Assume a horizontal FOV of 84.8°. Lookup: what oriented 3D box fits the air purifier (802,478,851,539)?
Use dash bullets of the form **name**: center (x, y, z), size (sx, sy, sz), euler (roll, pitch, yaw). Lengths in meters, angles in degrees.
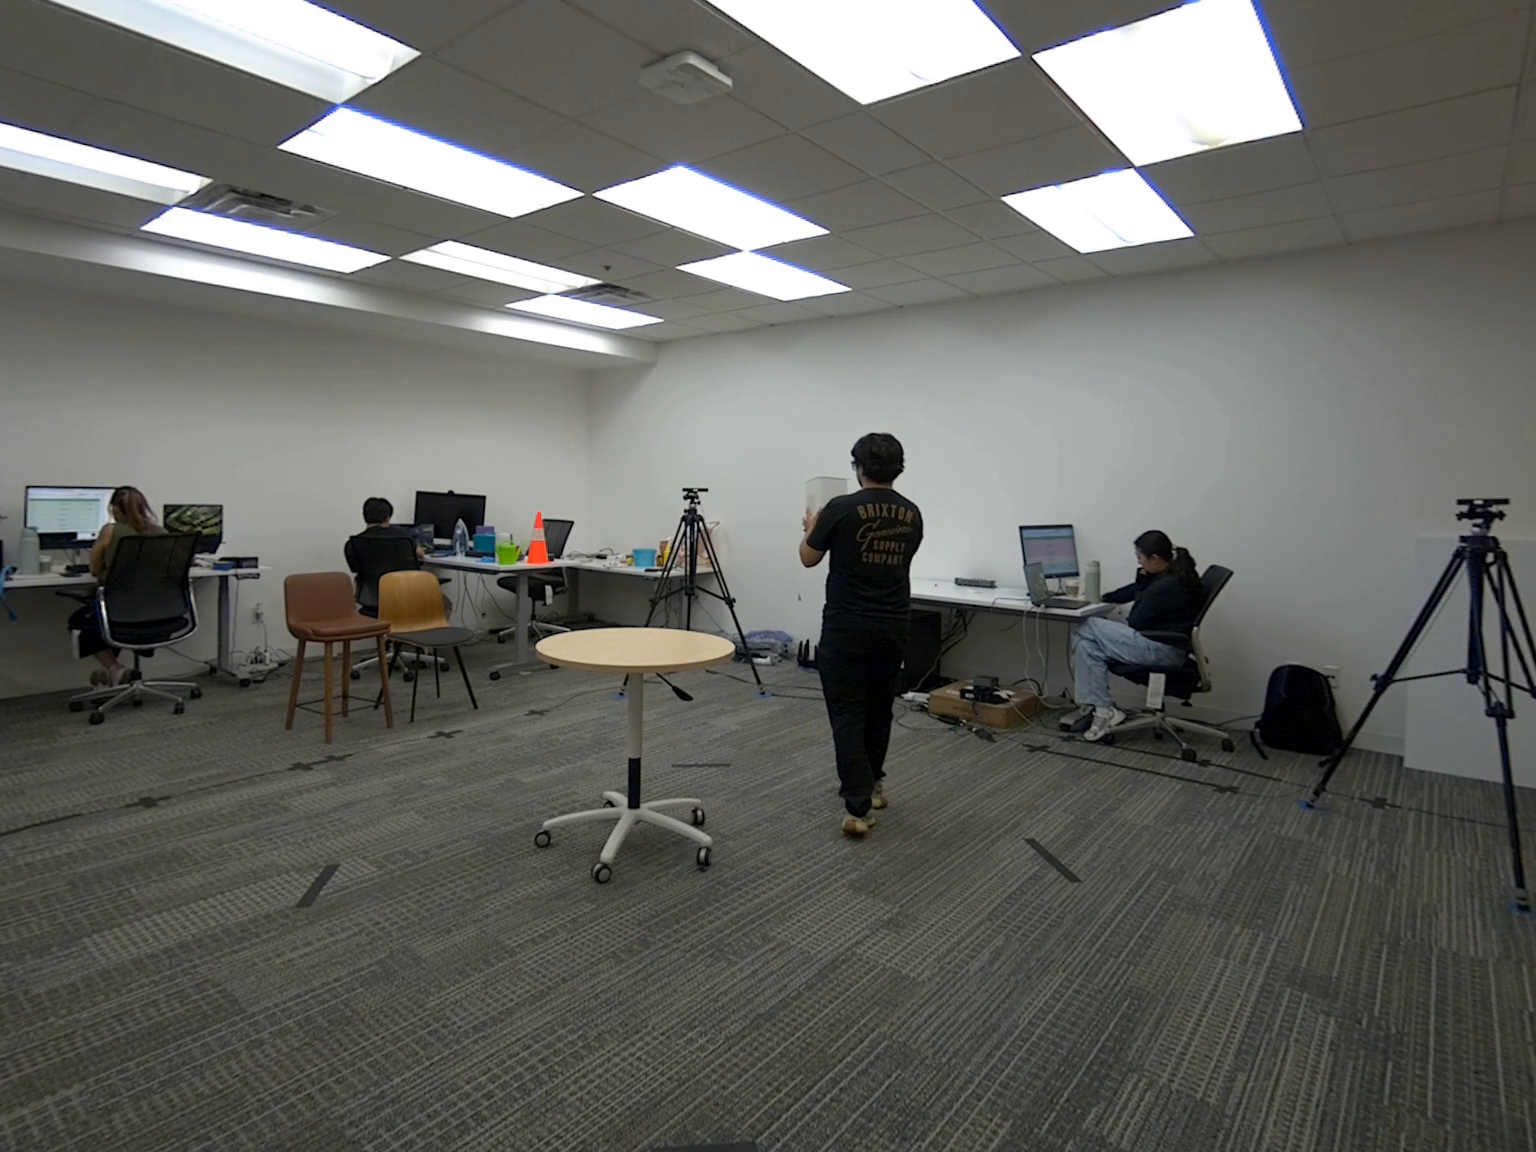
- **air purifier**: center (0.277, -0.317, 3.988), size (0.168, 0.267, 0.174), euler (2, -6, -20)
